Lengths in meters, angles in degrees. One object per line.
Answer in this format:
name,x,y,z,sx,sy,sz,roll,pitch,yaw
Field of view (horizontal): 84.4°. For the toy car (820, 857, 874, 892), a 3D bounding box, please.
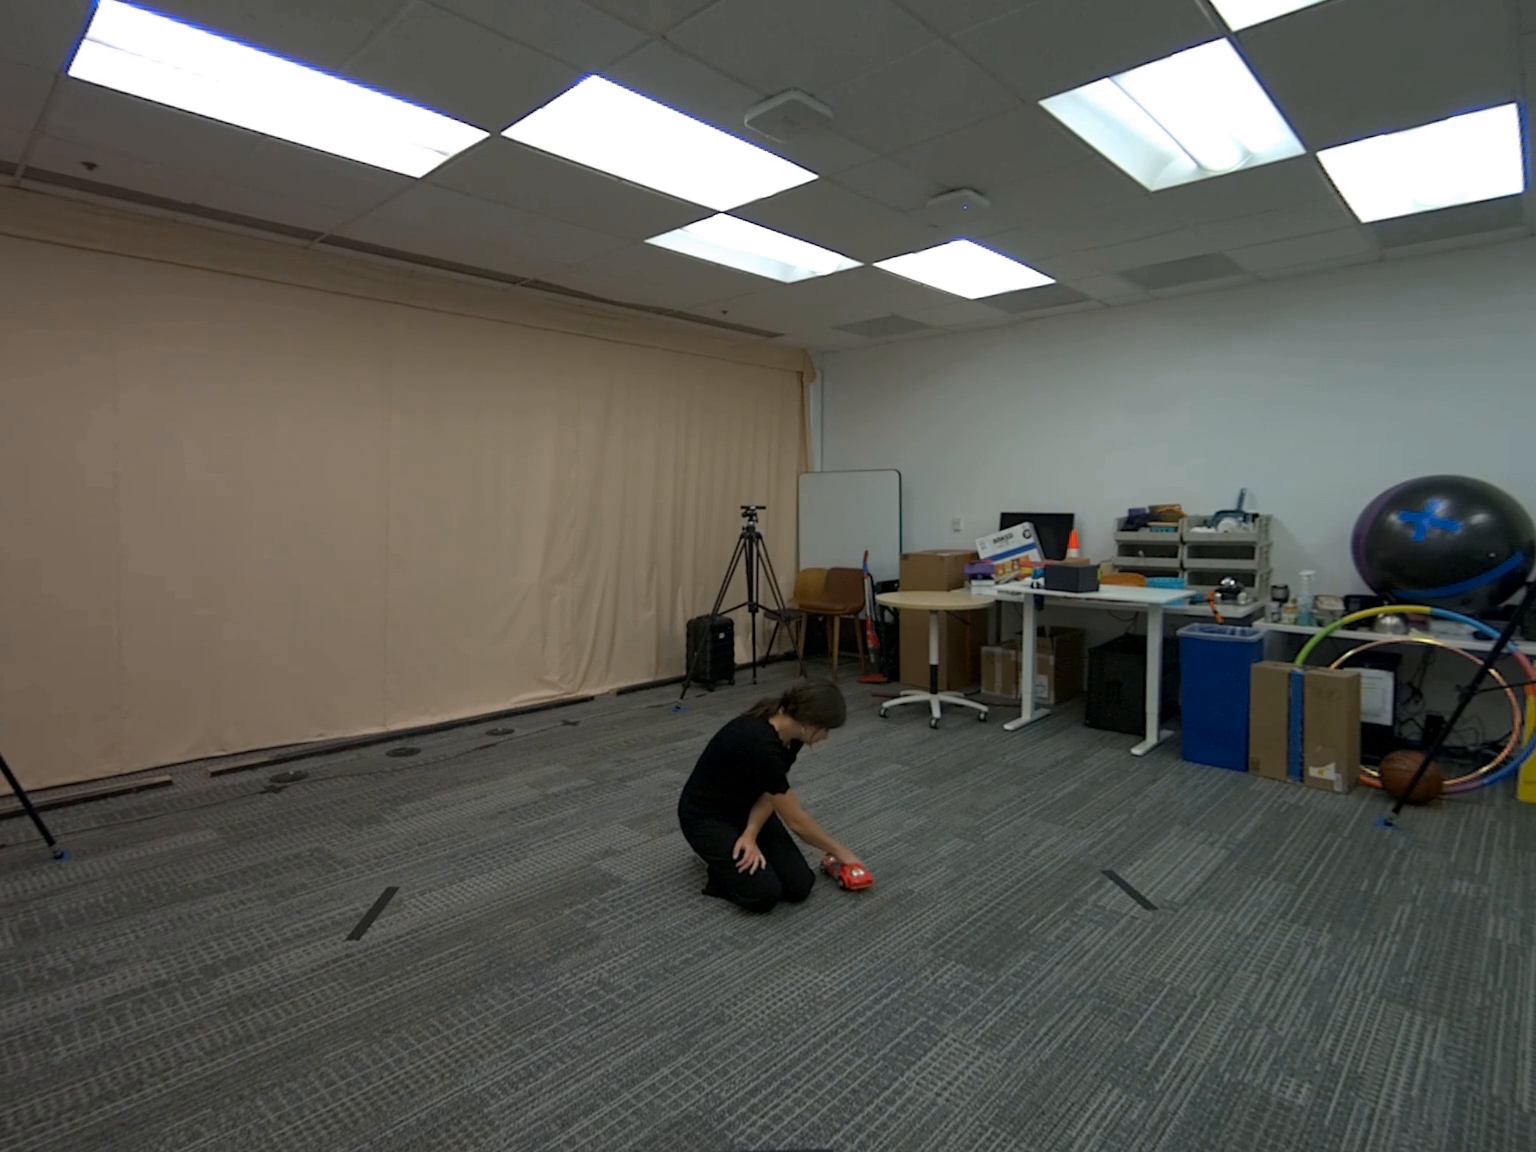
toy car,0.301,1.101,3.100,0.127,0.083,0.259,-2,-6,-23
